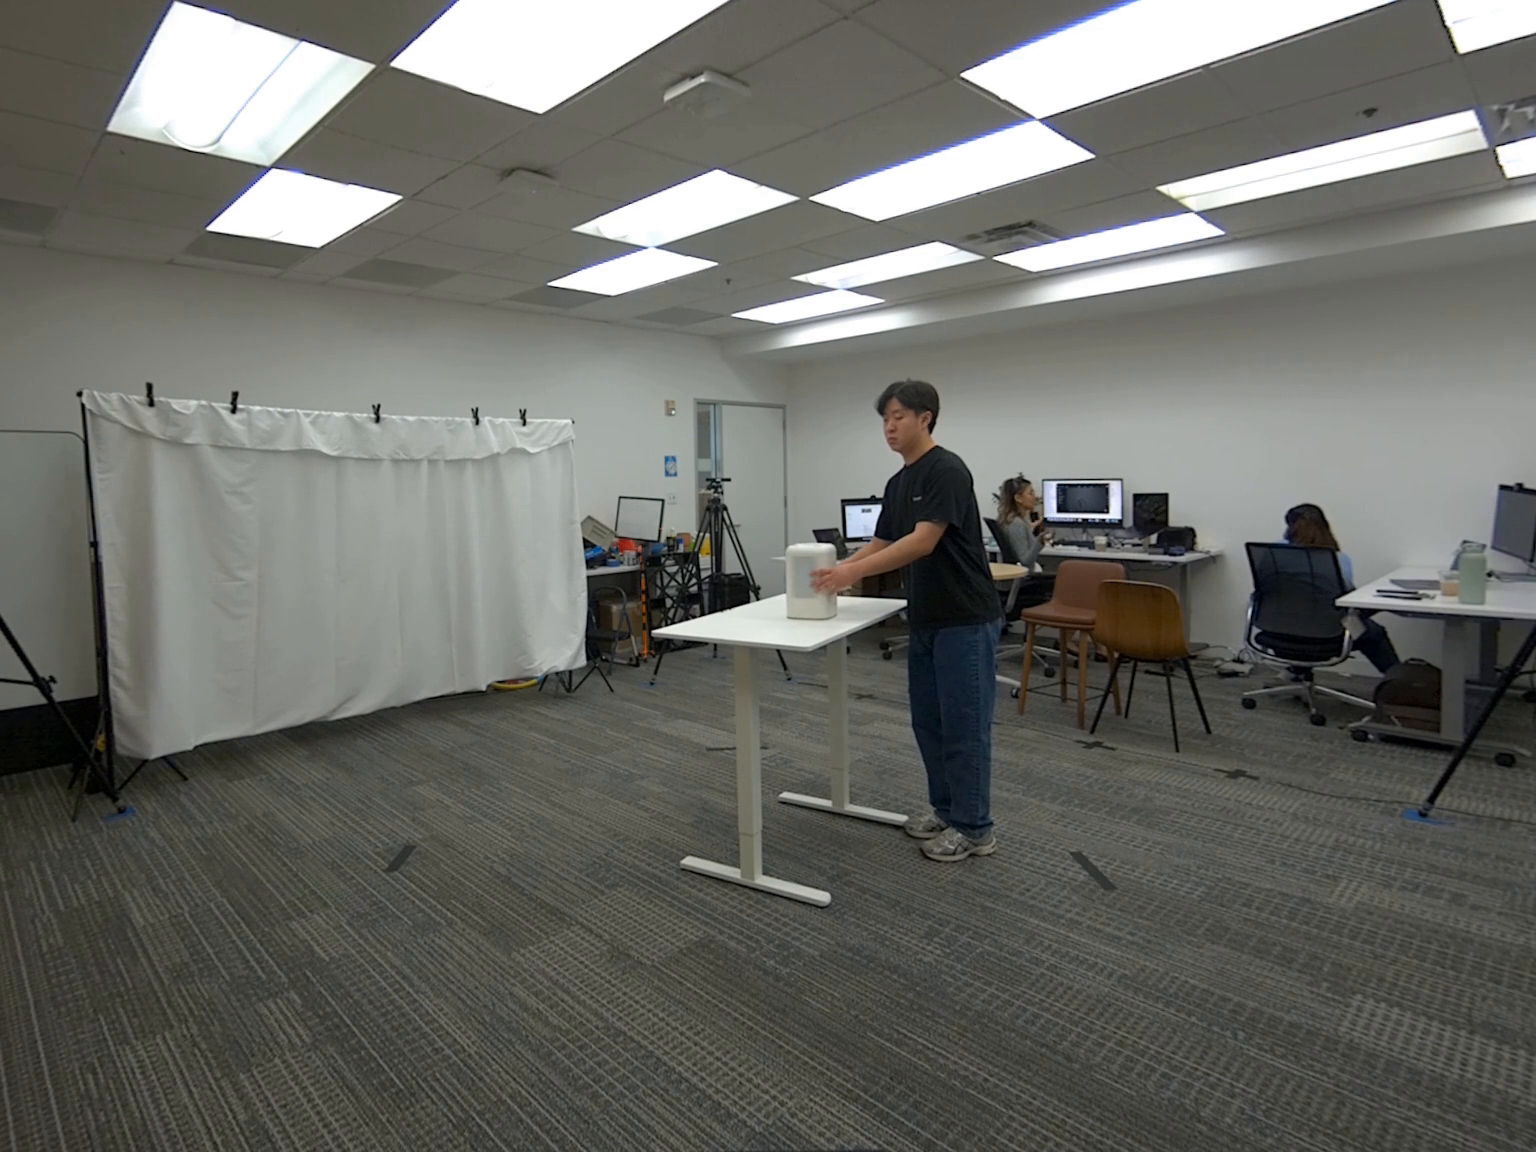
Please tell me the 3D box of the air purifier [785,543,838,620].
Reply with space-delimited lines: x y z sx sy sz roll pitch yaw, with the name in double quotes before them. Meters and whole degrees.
"air purifier" 0.167 0.014 3.149 0.175 0.264 0.168 -1 4 22
